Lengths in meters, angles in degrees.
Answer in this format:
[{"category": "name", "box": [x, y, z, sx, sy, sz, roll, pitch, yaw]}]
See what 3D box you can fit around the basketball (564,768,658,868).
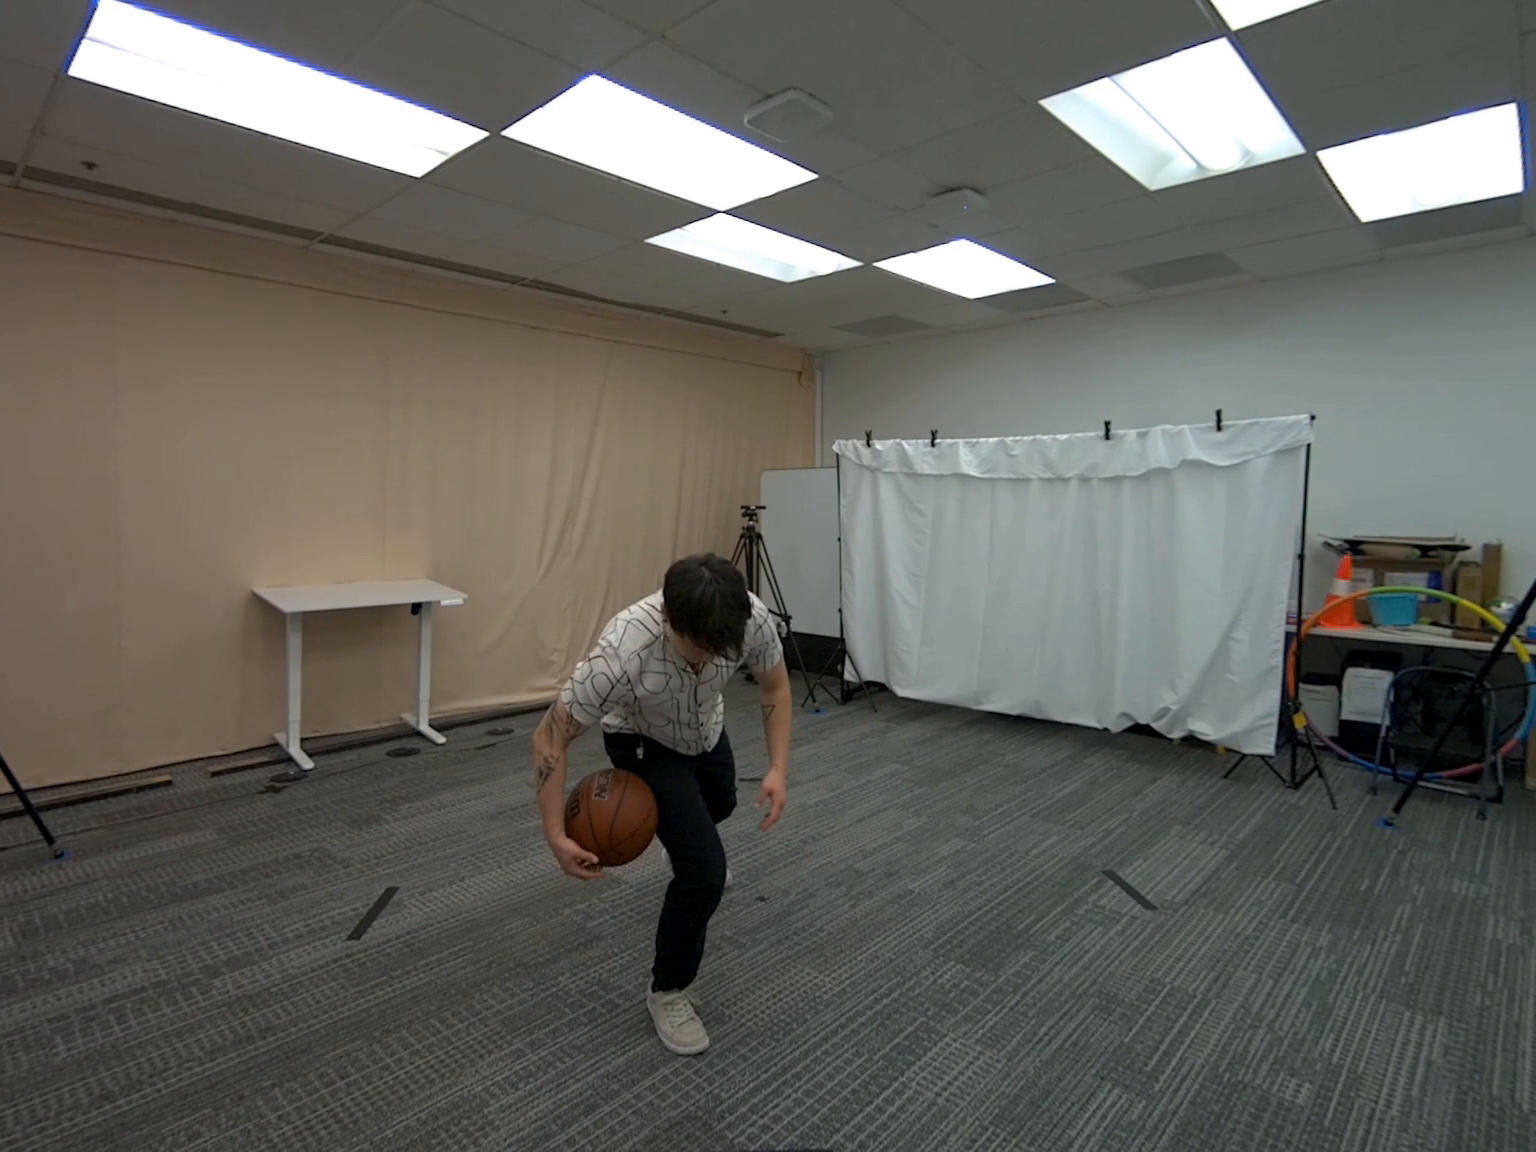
[{"category": "basketball", "box": [-0.392, 0.616, 2.136, 0.236, 0.235, 0.237, 0, 4, -2]}]
